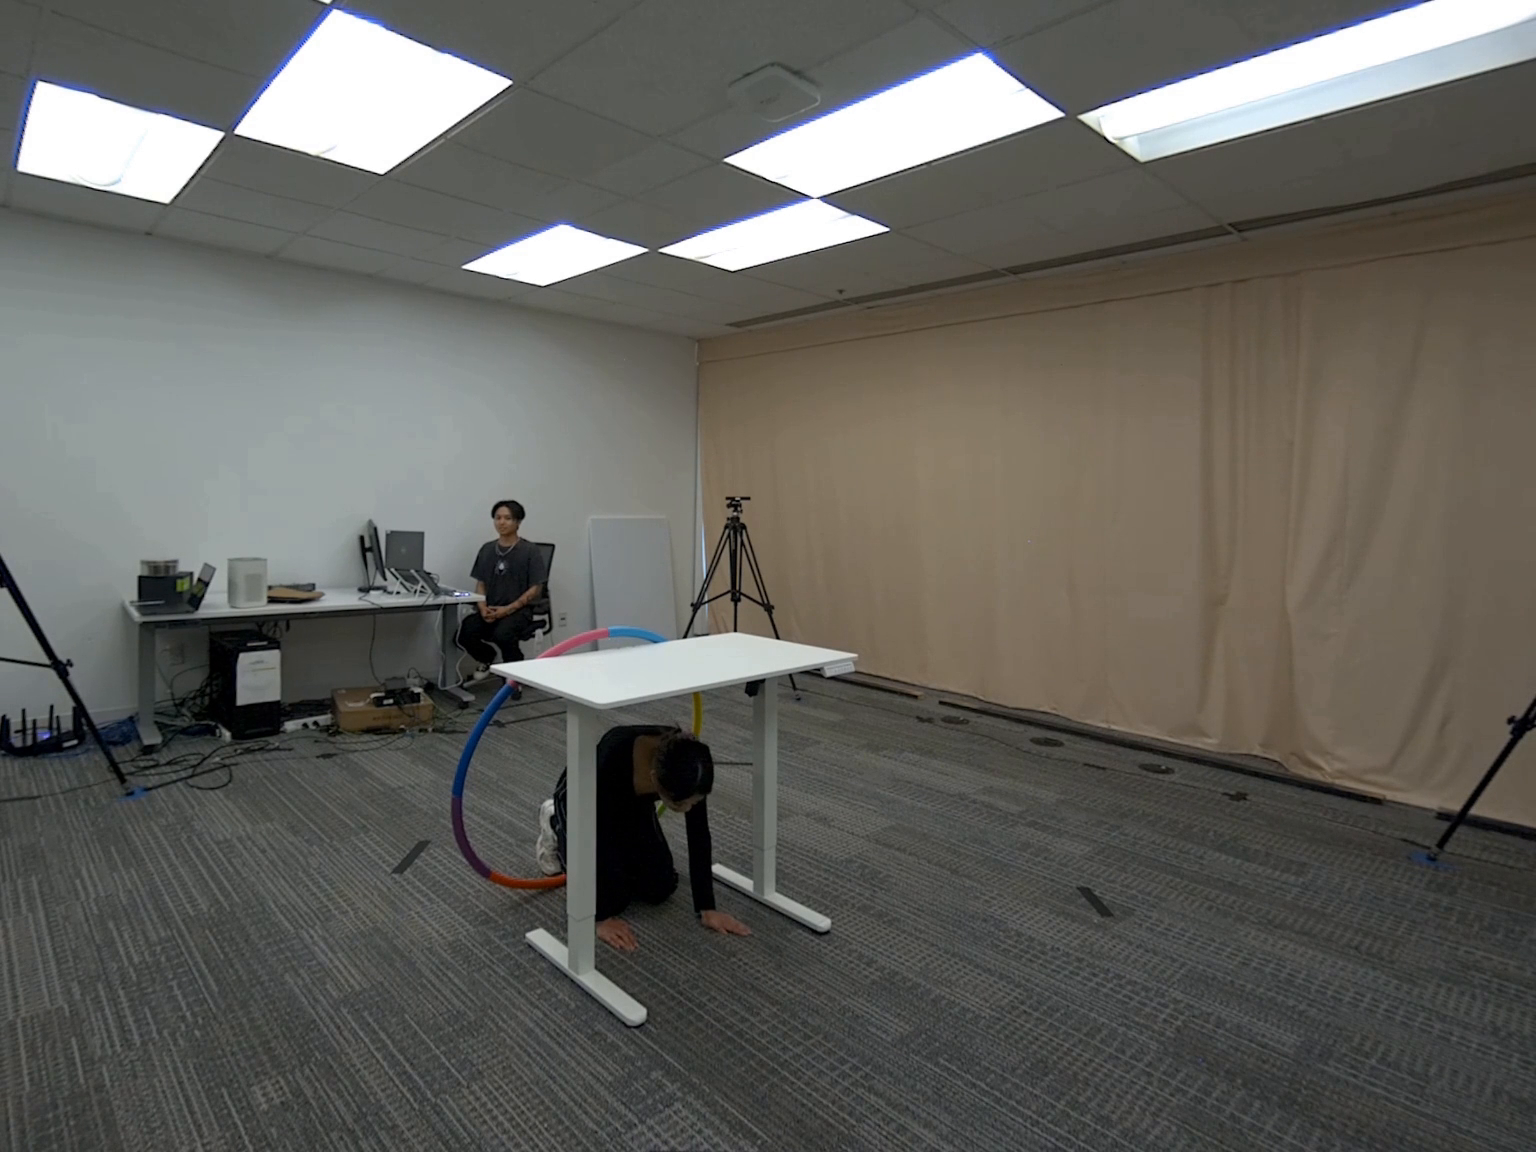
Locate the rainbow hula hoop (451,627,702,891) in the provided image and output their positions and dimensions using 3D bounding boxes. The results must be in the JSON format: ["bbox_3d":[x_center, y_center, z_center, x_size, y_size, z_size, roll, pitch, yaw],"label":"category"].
[{"bbox_3d":[-0.626,0.643,2.912,0.956,0.971,0.036,-3,20,-44],"label":"rainbow hula hoop"}]
